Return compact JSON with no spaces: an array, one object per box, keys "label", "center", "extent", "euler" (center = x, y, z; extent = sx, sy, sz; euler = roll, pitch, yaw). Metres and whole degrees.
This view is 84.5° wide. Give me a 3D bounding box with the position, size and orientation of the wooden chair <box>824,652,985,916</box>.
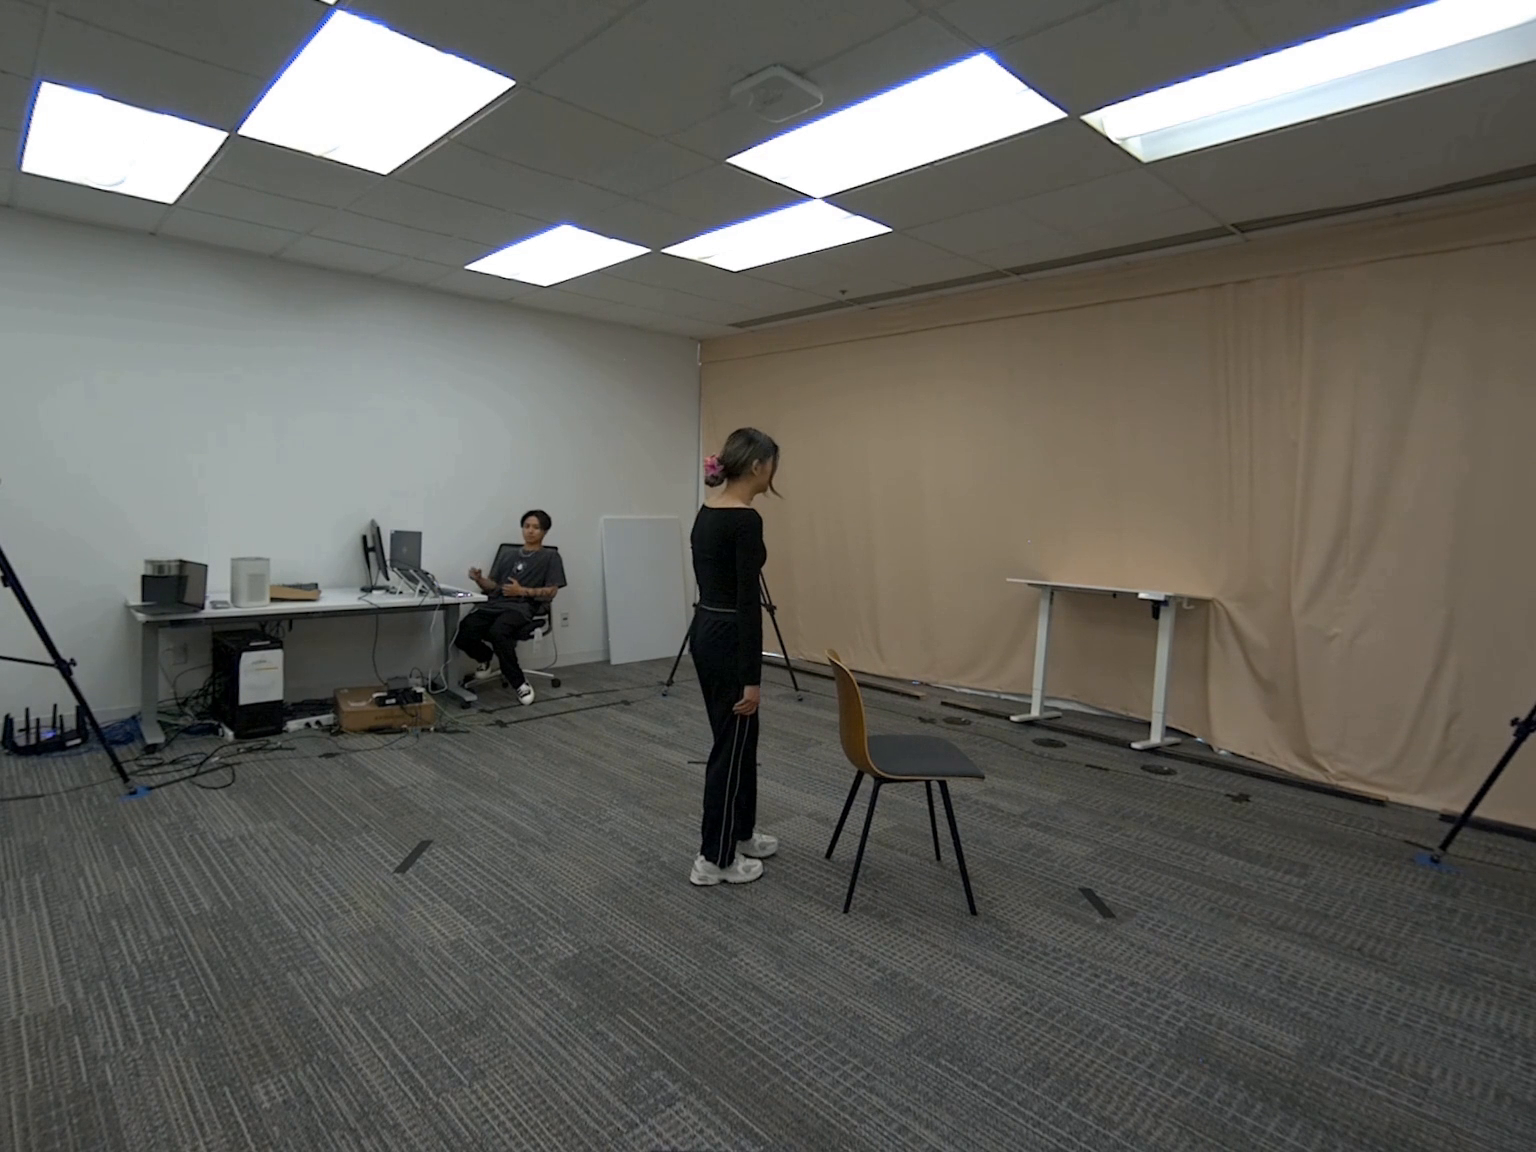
[{"label":"wooden chair","center":[0.481,0.700,3.041],"extent":[0.522,0.875,0.480],"euler":[-2,3,-3]}]
